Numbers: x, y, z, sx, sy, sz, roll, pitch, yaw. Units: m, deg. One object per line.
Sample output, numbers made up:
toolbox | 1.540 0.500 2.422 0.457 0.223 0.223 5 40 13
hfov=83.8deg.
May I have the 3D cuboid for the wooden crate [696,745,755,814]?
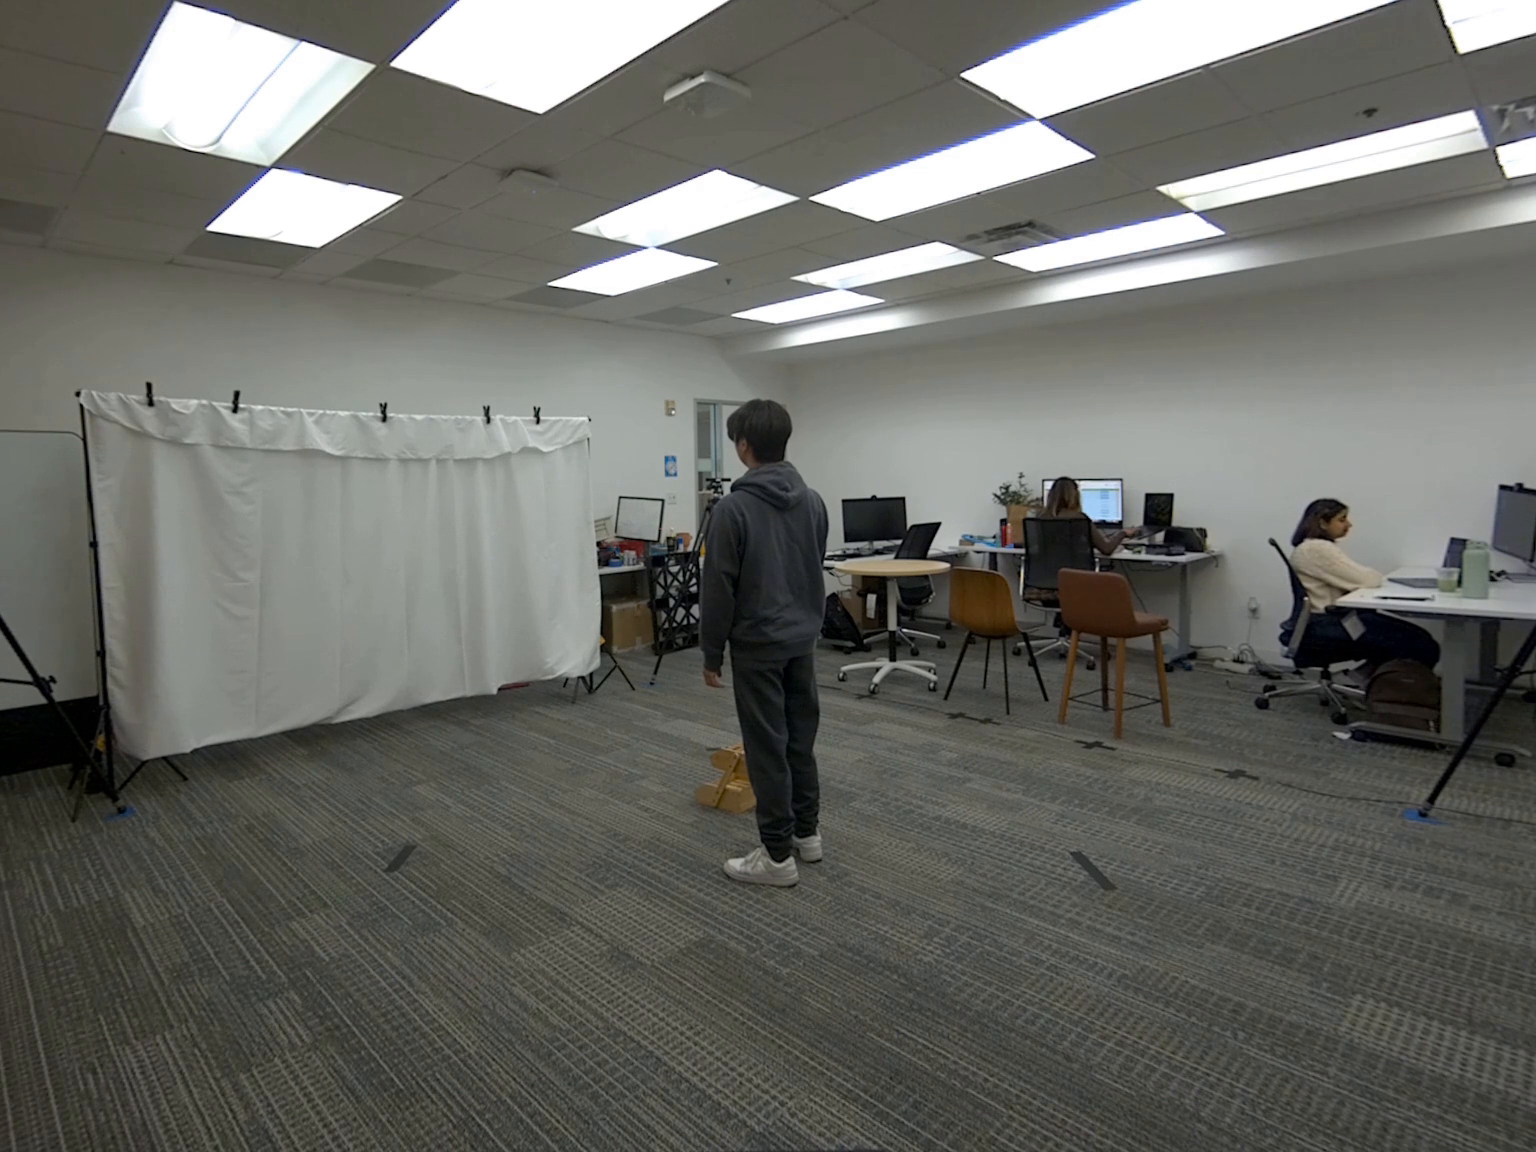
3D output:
wooden crate | -0.119 0.843 3.741 0.311 0.272 0.316 3 7 35
